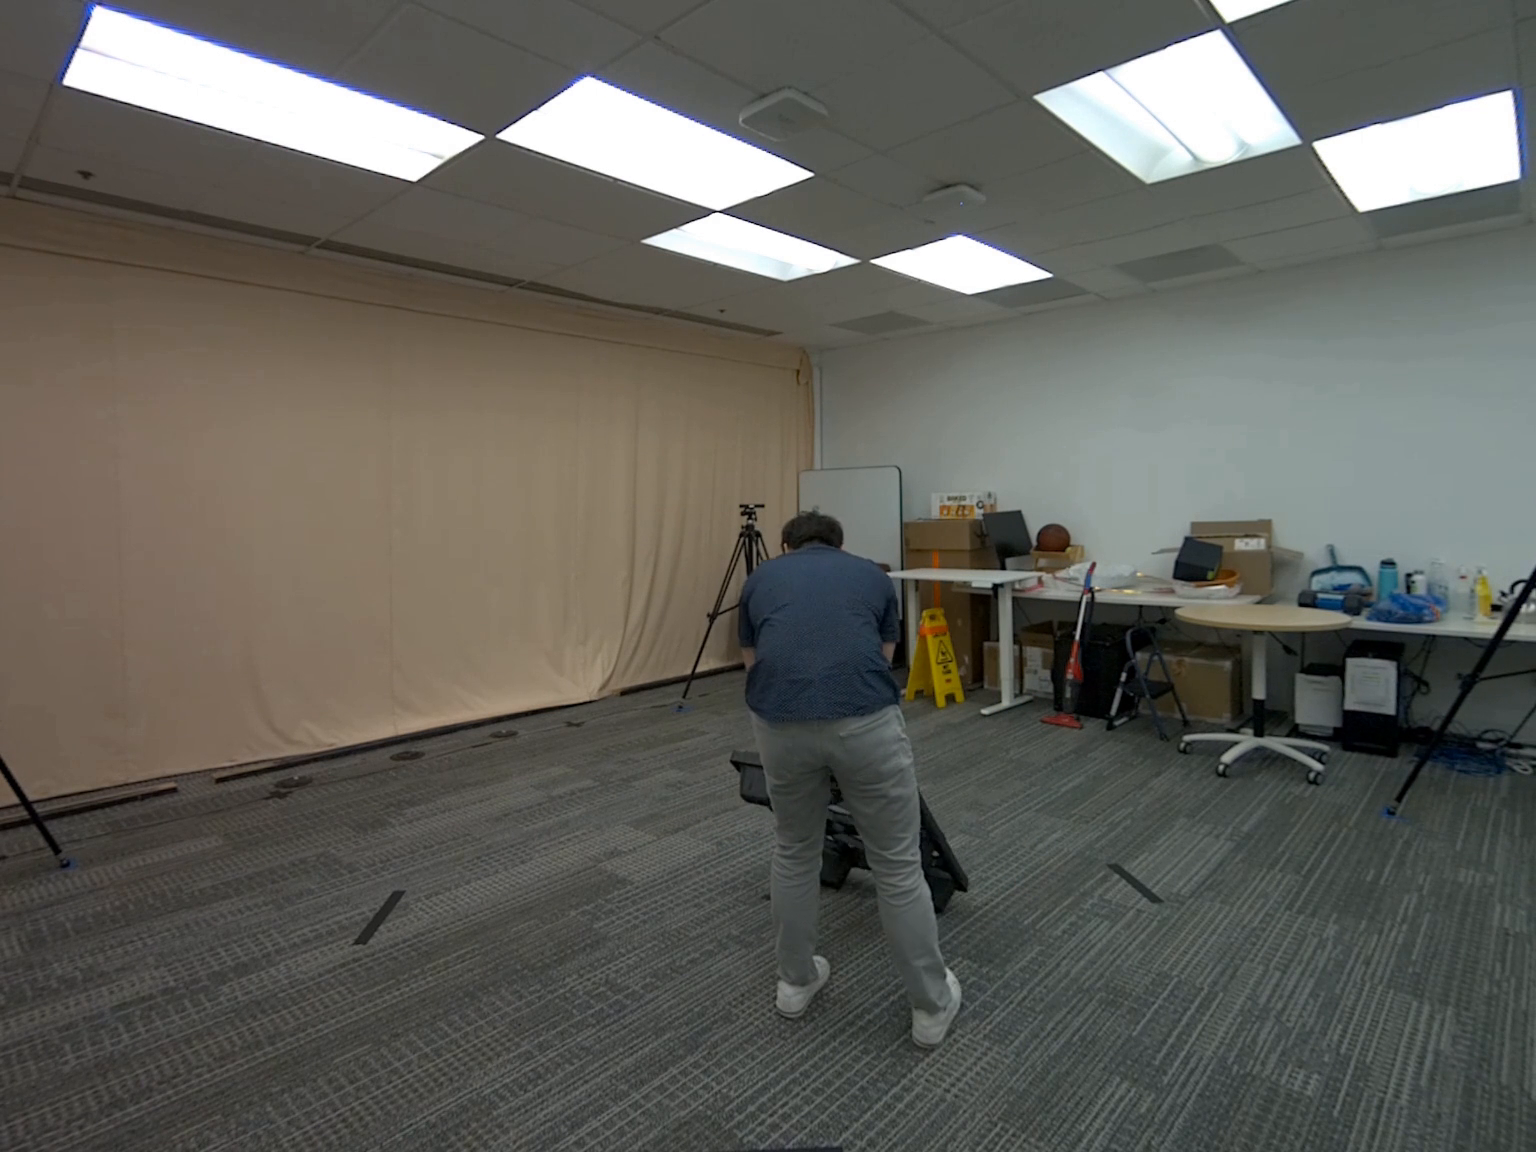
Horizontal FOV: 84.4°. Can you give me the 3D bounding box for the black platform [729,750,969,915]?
[{"bbox_3d":[0.265,0.857,2.750,0.622,0.144,0.780,2,-39,30],"label":"black platform"}]
